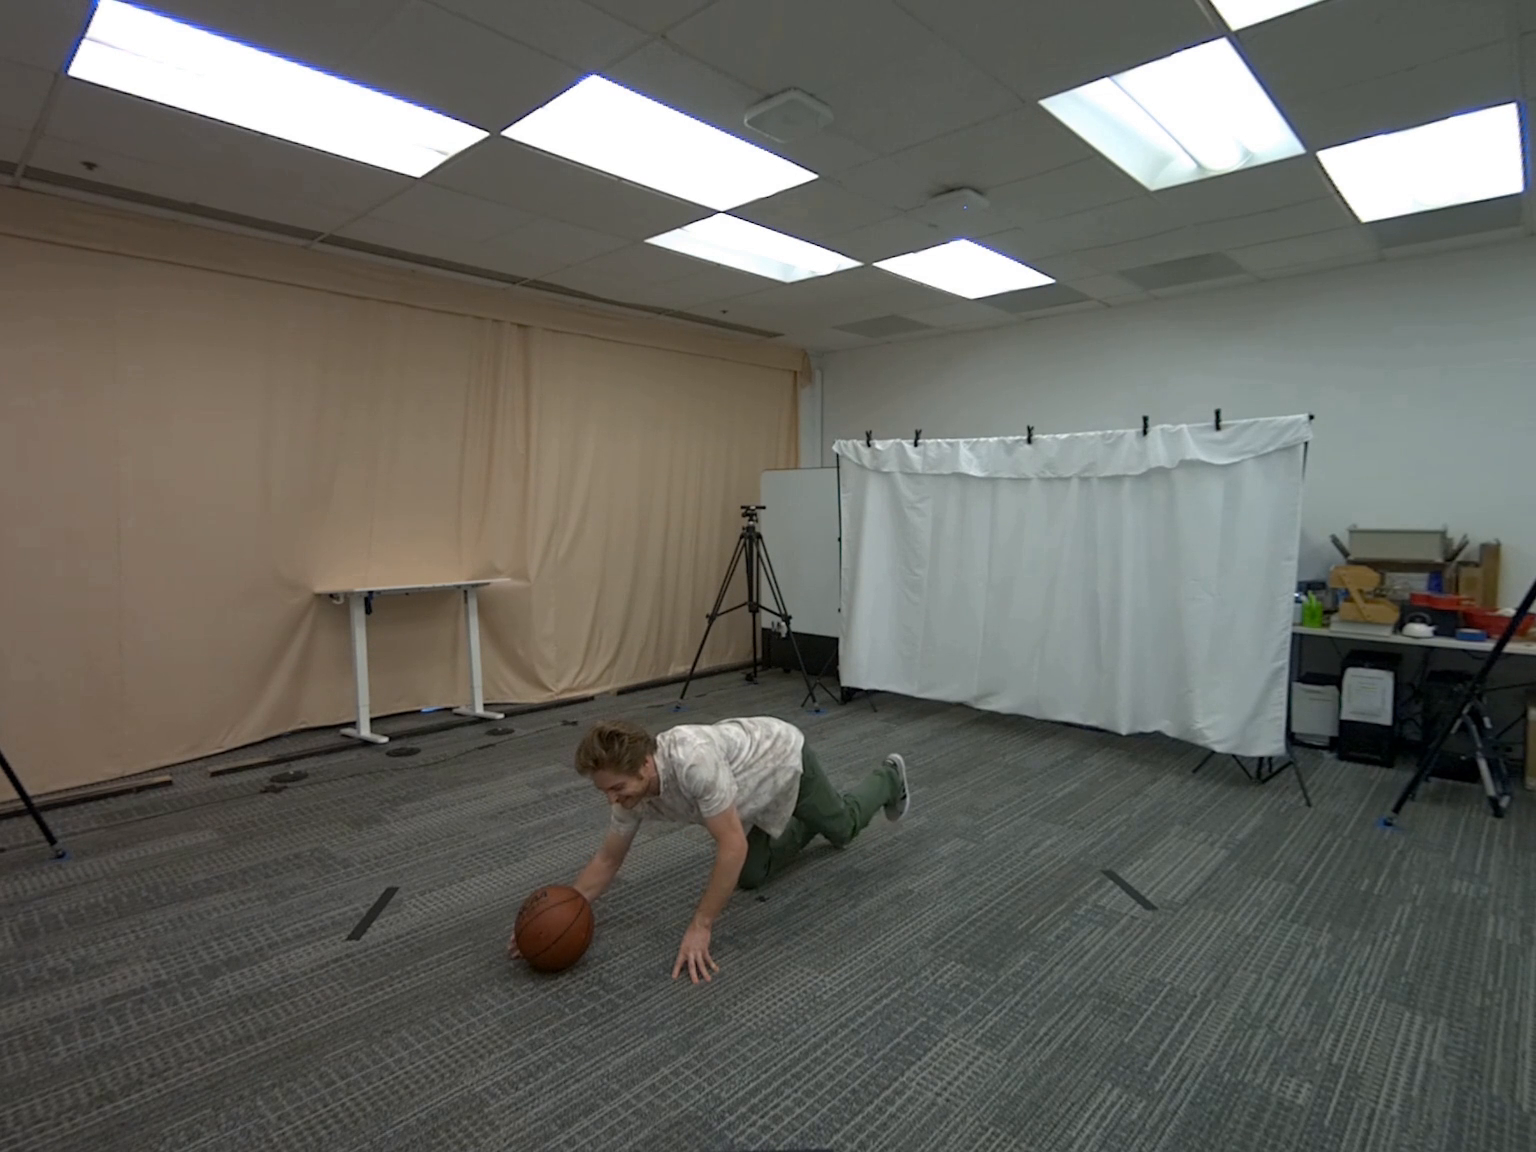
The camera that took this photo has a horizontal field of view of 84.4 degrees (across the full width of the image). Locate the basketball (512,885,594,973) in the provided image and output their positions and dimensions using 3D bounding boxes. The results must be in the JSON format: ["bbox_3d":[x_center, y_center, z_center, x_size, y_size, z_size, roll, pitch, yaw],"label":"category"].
[{"bbox_3d":[-0.652,1.062,2.552,0.236,0.235,0.237,0,4,-2],"label":"basketball"}]
